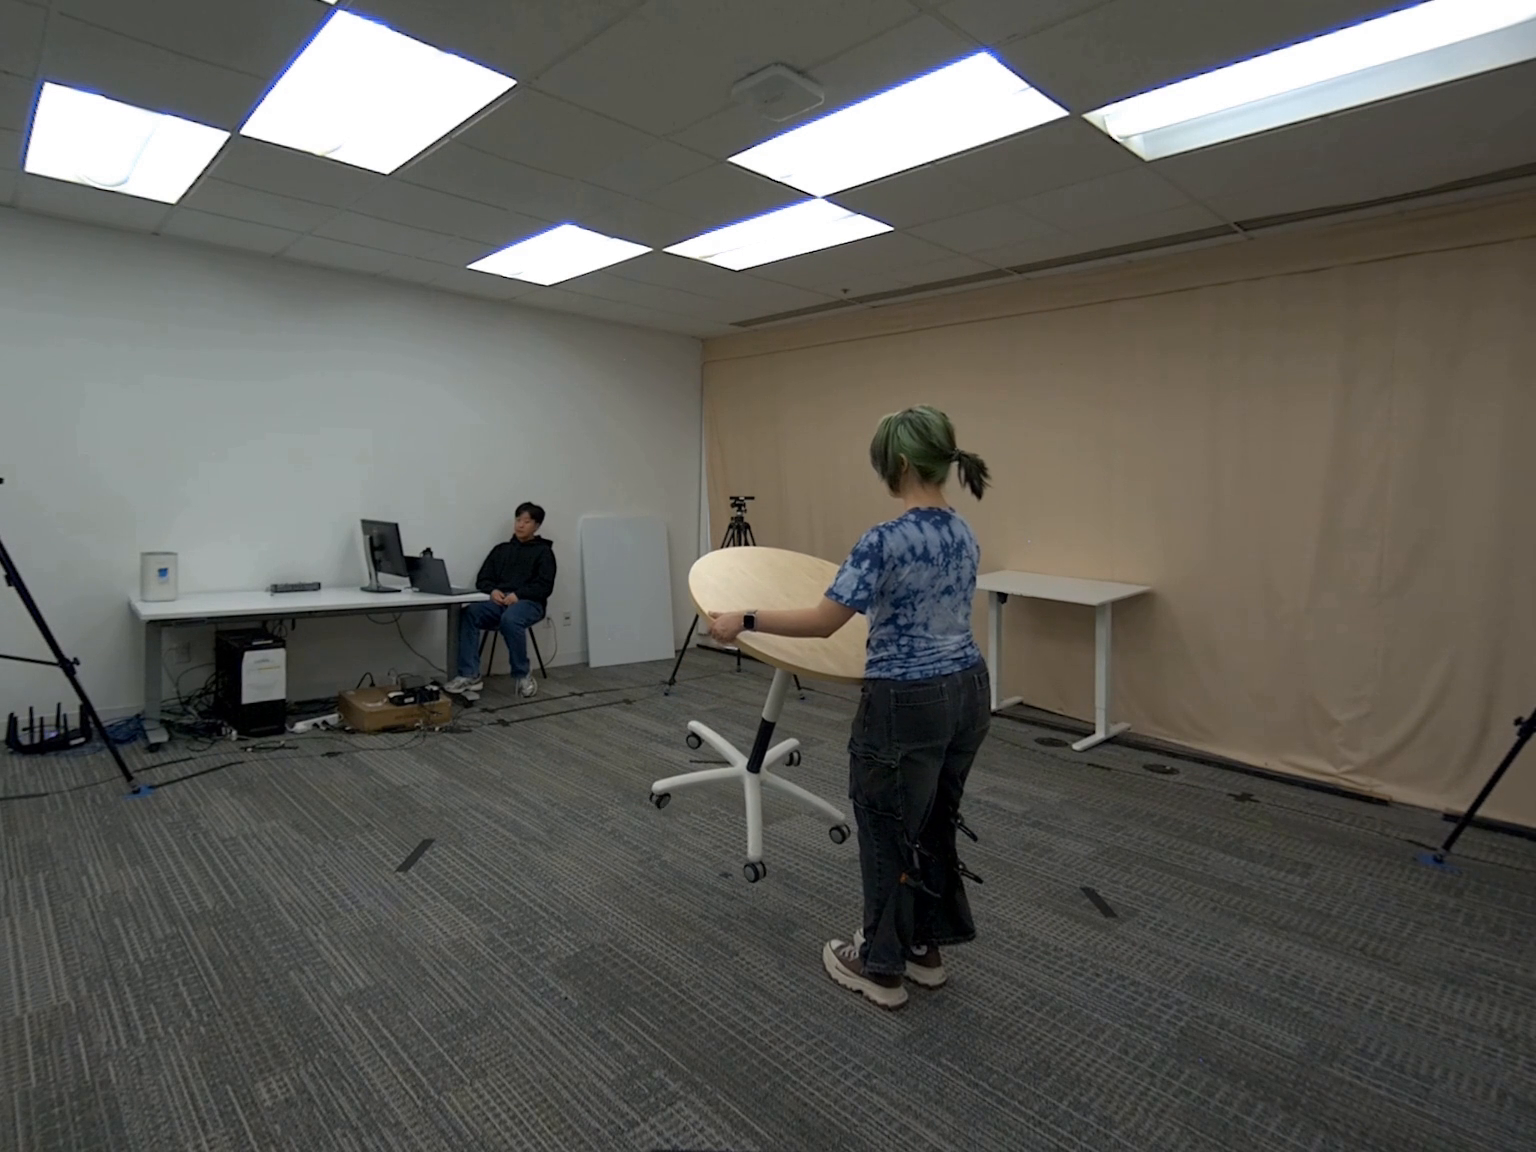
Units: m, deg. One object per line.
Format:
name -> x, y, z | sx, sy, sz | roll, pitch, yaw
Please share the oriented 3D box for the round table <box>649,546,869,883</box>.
round table -> 0.009, 0.443, 2.785 | 0.759, 0.785, 0.777 | 13, 24, -8
